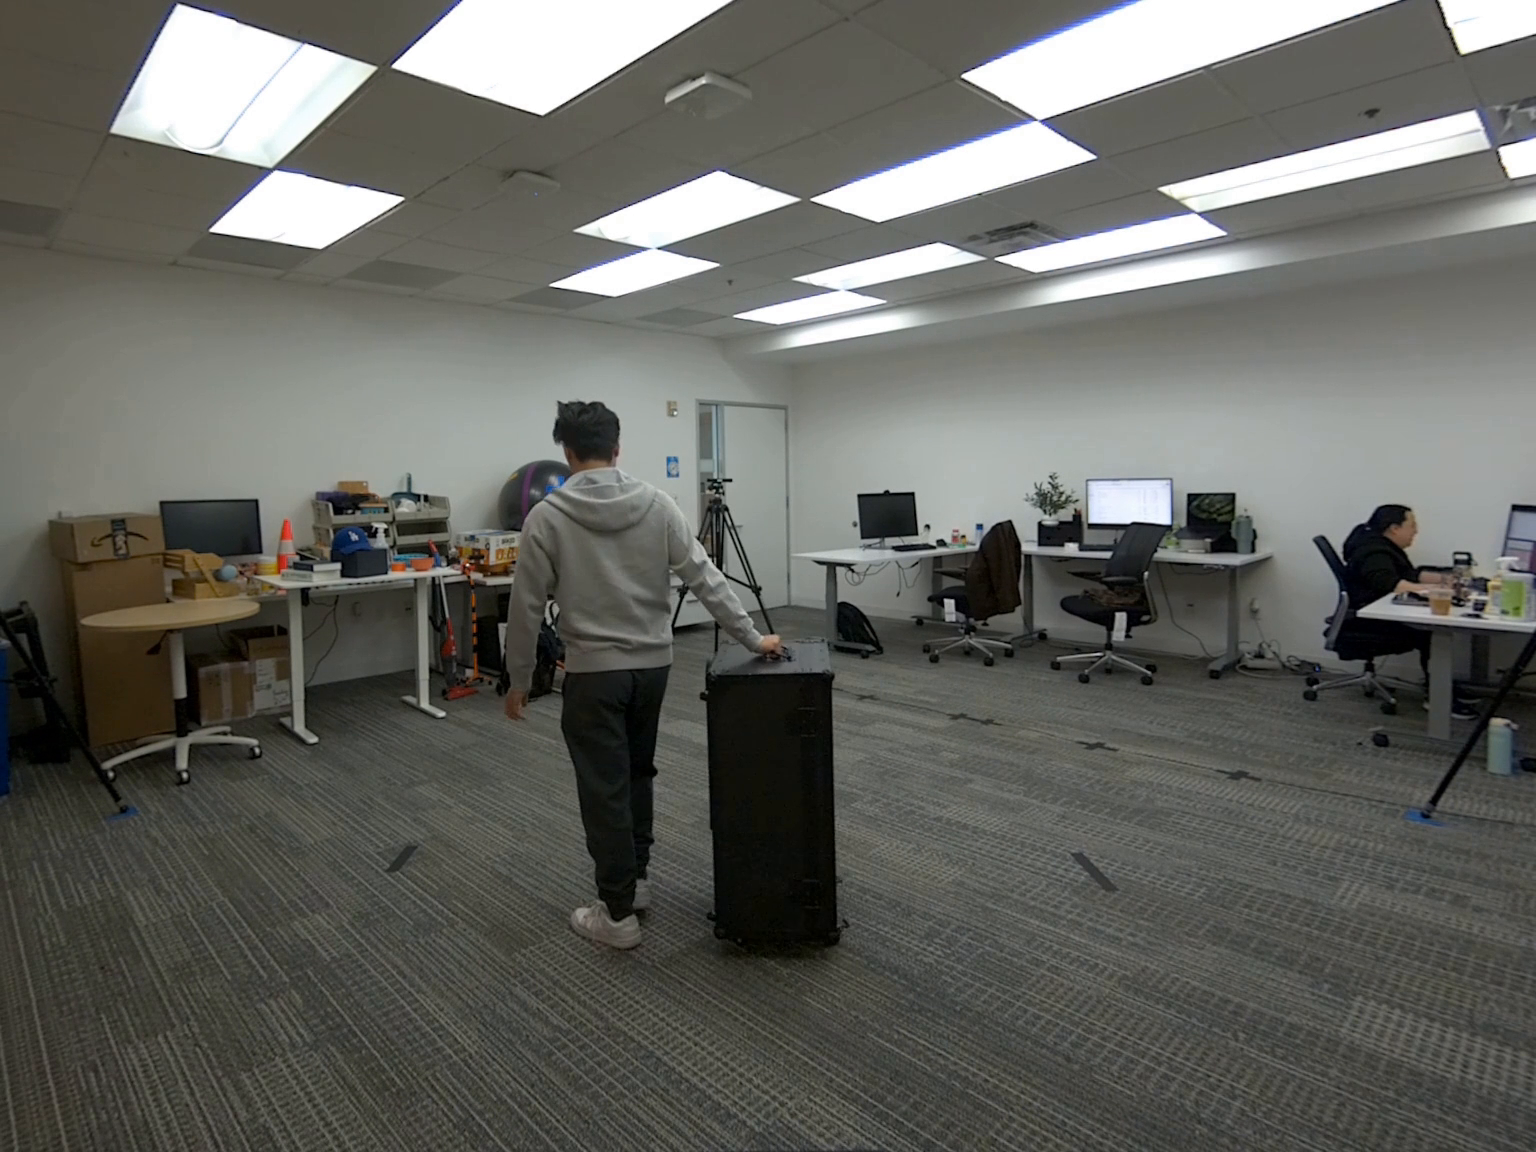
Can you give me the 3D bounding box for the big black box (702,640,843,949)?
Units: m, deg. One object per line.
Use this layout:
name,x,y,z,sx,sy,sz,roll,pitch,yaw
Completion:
big black box,0.020,0.668,2.674,0.398,0.858,0.521,-3,5,5
